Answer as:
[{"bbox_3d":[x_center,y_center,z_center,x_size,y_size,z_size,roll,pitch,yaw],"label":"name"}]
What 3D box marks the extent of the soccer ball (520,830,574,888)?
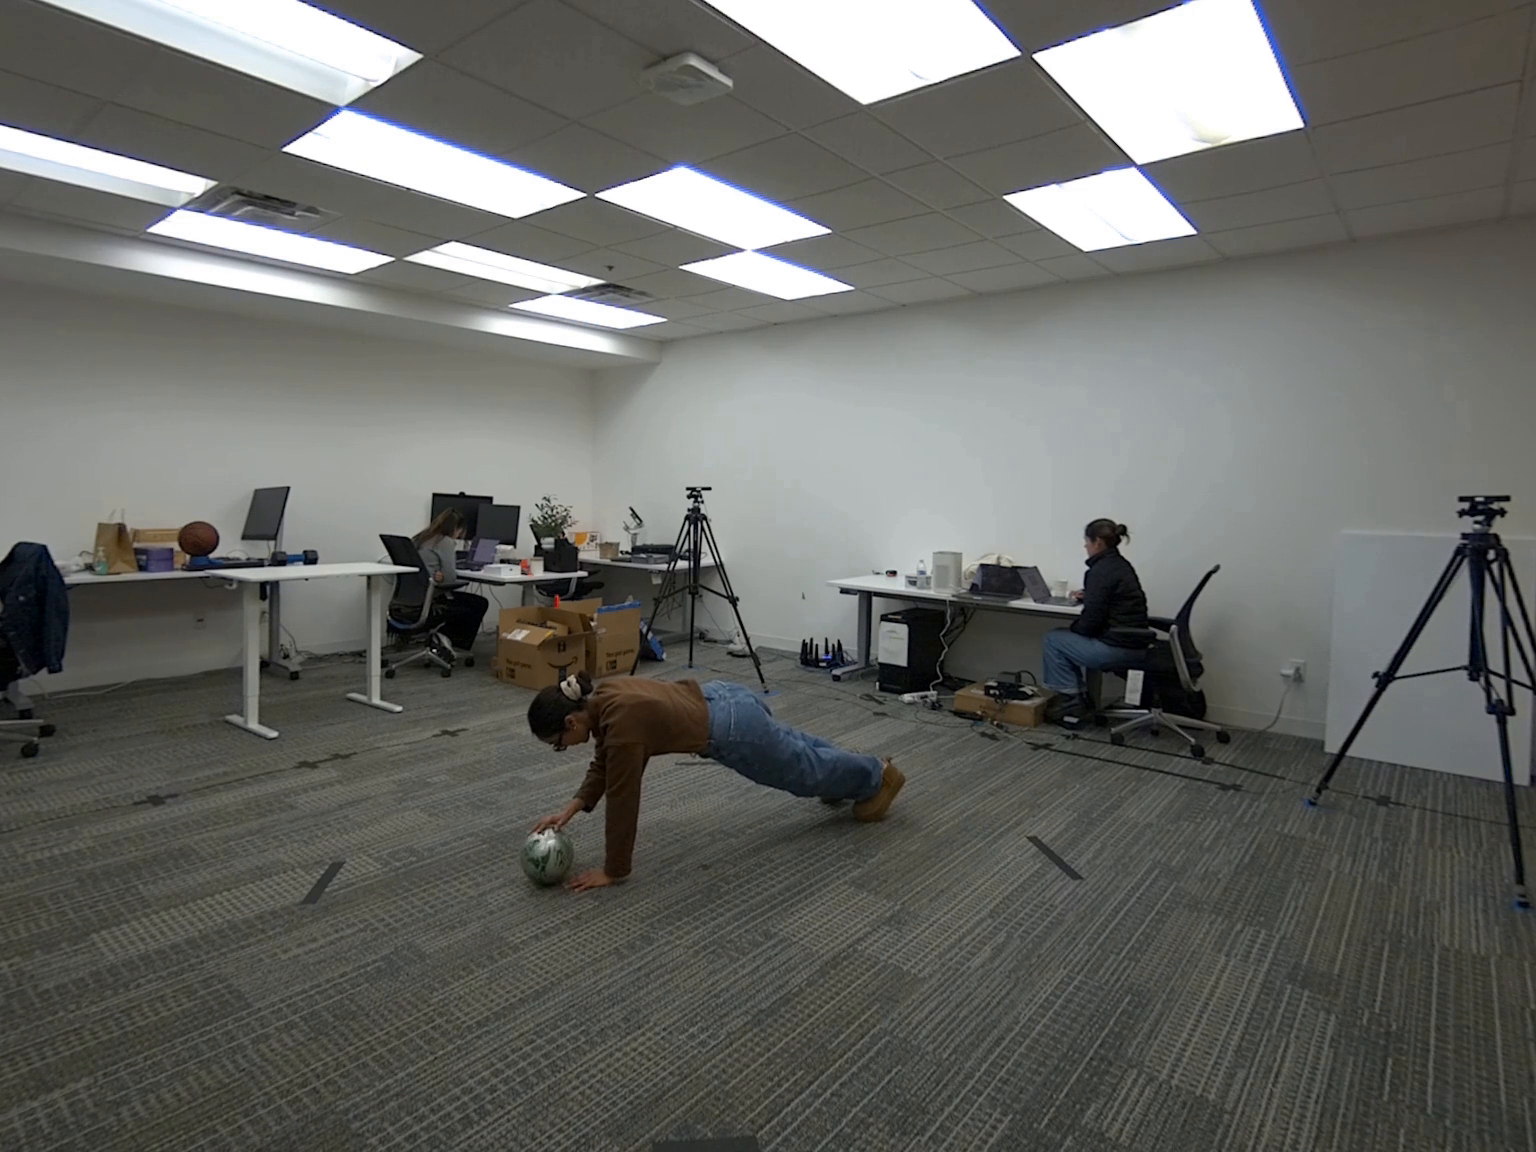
[{"bbox_3d":[-0.785,0.979,2.976,0.187,0.187,0.188,1,4,-2],"label":"soccer ball"}]
